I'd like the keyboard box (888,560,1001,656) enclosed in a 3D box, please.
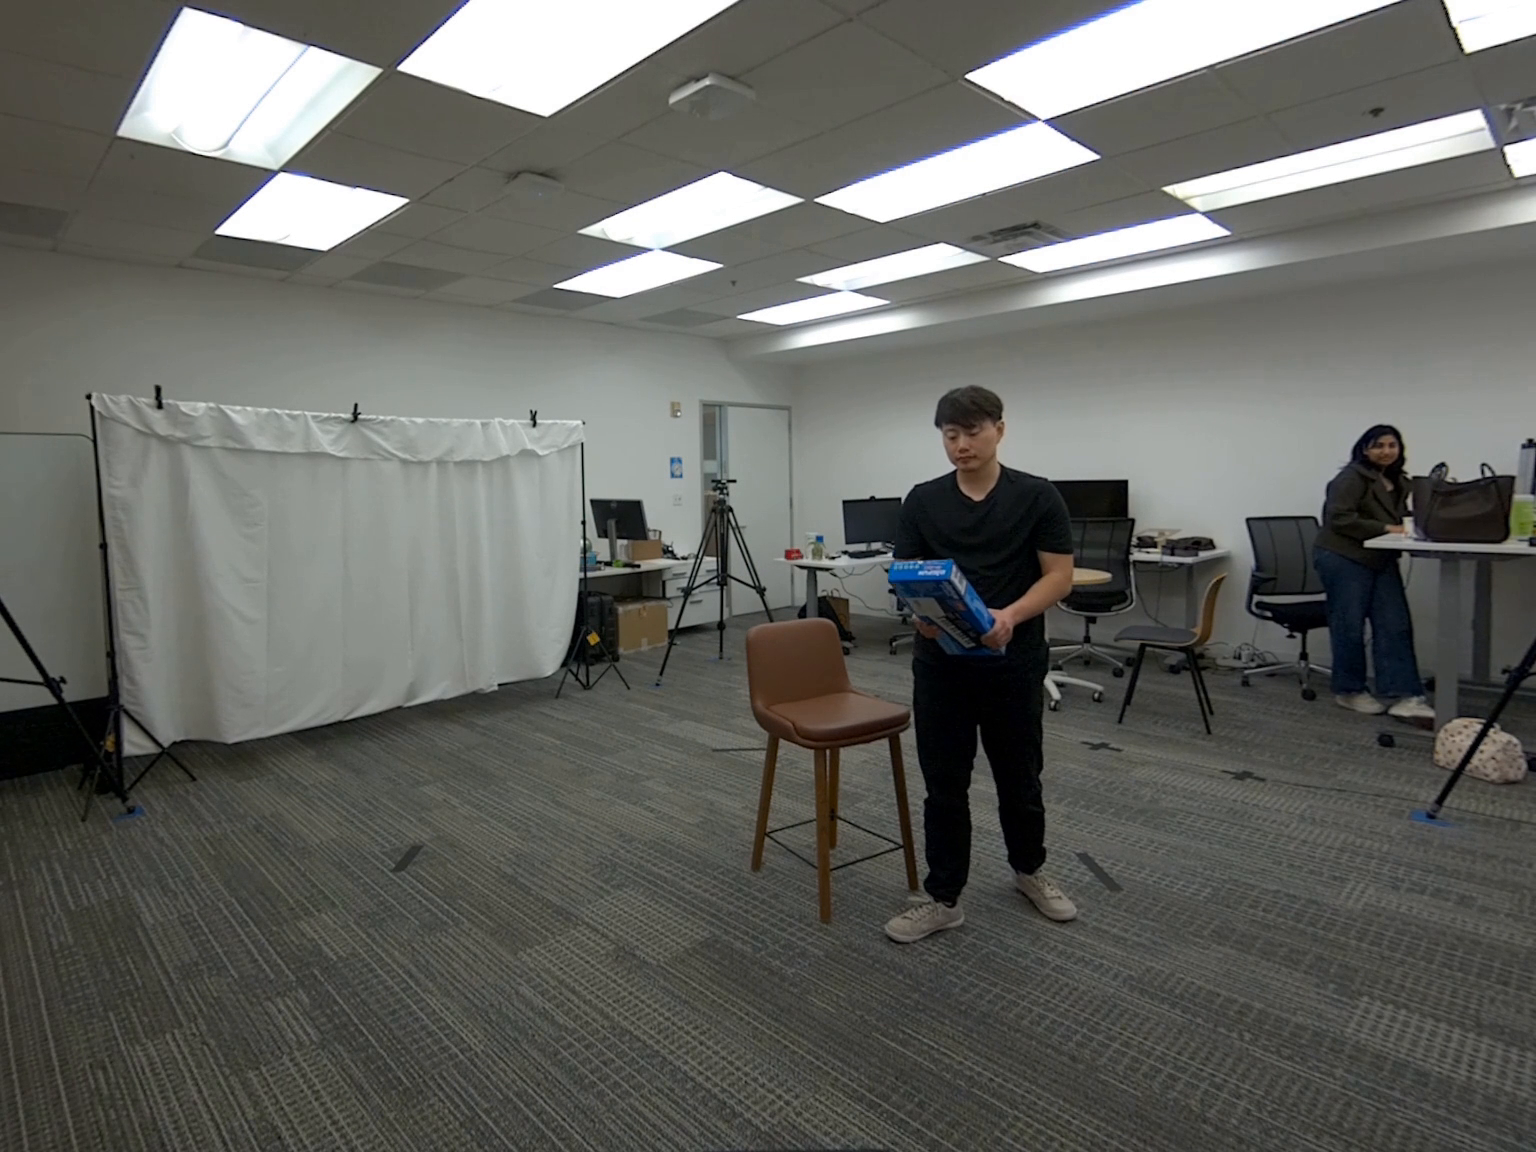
[{"bbox_3d":[0.505,0.099,2.338,0.180,0.060,0.420,-3,-33,37],"label":"keyboard box"}]
